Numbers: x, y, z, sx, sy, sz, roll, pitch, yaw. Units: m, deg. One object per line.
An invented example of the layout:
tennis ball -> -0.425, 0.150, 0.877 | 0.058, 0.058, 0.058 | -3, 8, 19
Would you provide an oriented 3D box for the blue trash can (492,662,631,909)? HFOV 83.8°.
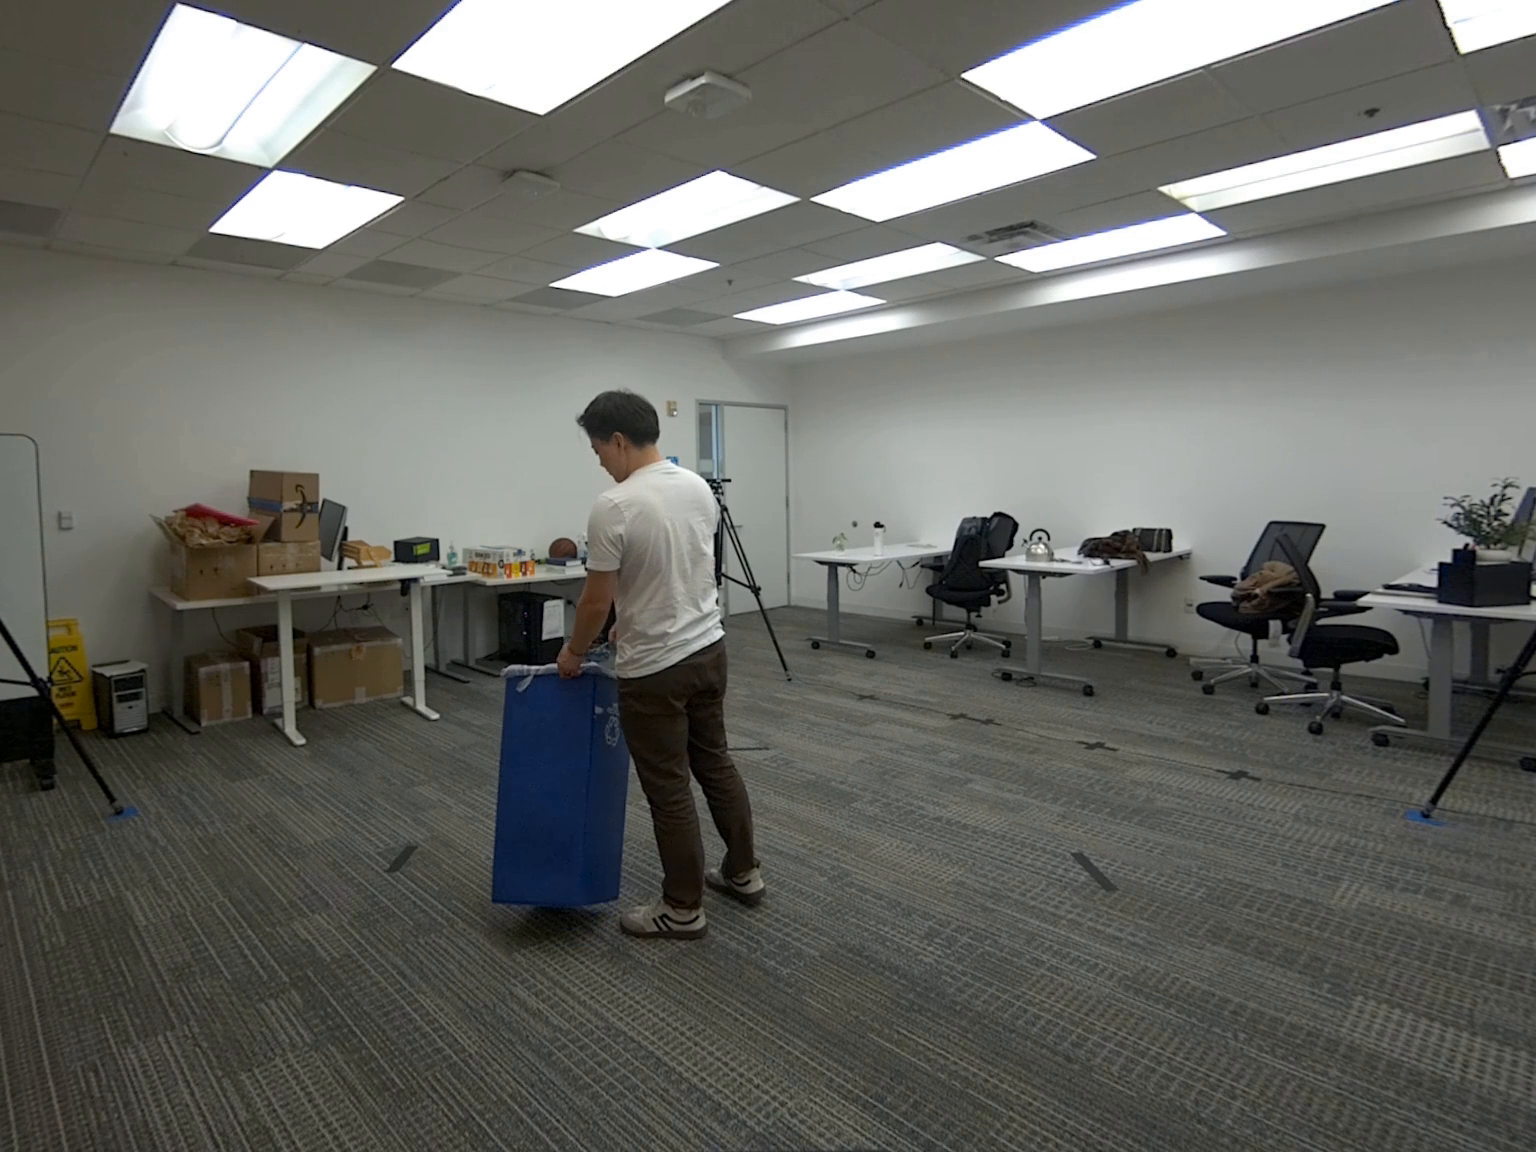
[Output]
blue trash can -> -0.662, 0.687, 2.807 | 0.379, 0.725, 0.367 | -5, -19, 15
